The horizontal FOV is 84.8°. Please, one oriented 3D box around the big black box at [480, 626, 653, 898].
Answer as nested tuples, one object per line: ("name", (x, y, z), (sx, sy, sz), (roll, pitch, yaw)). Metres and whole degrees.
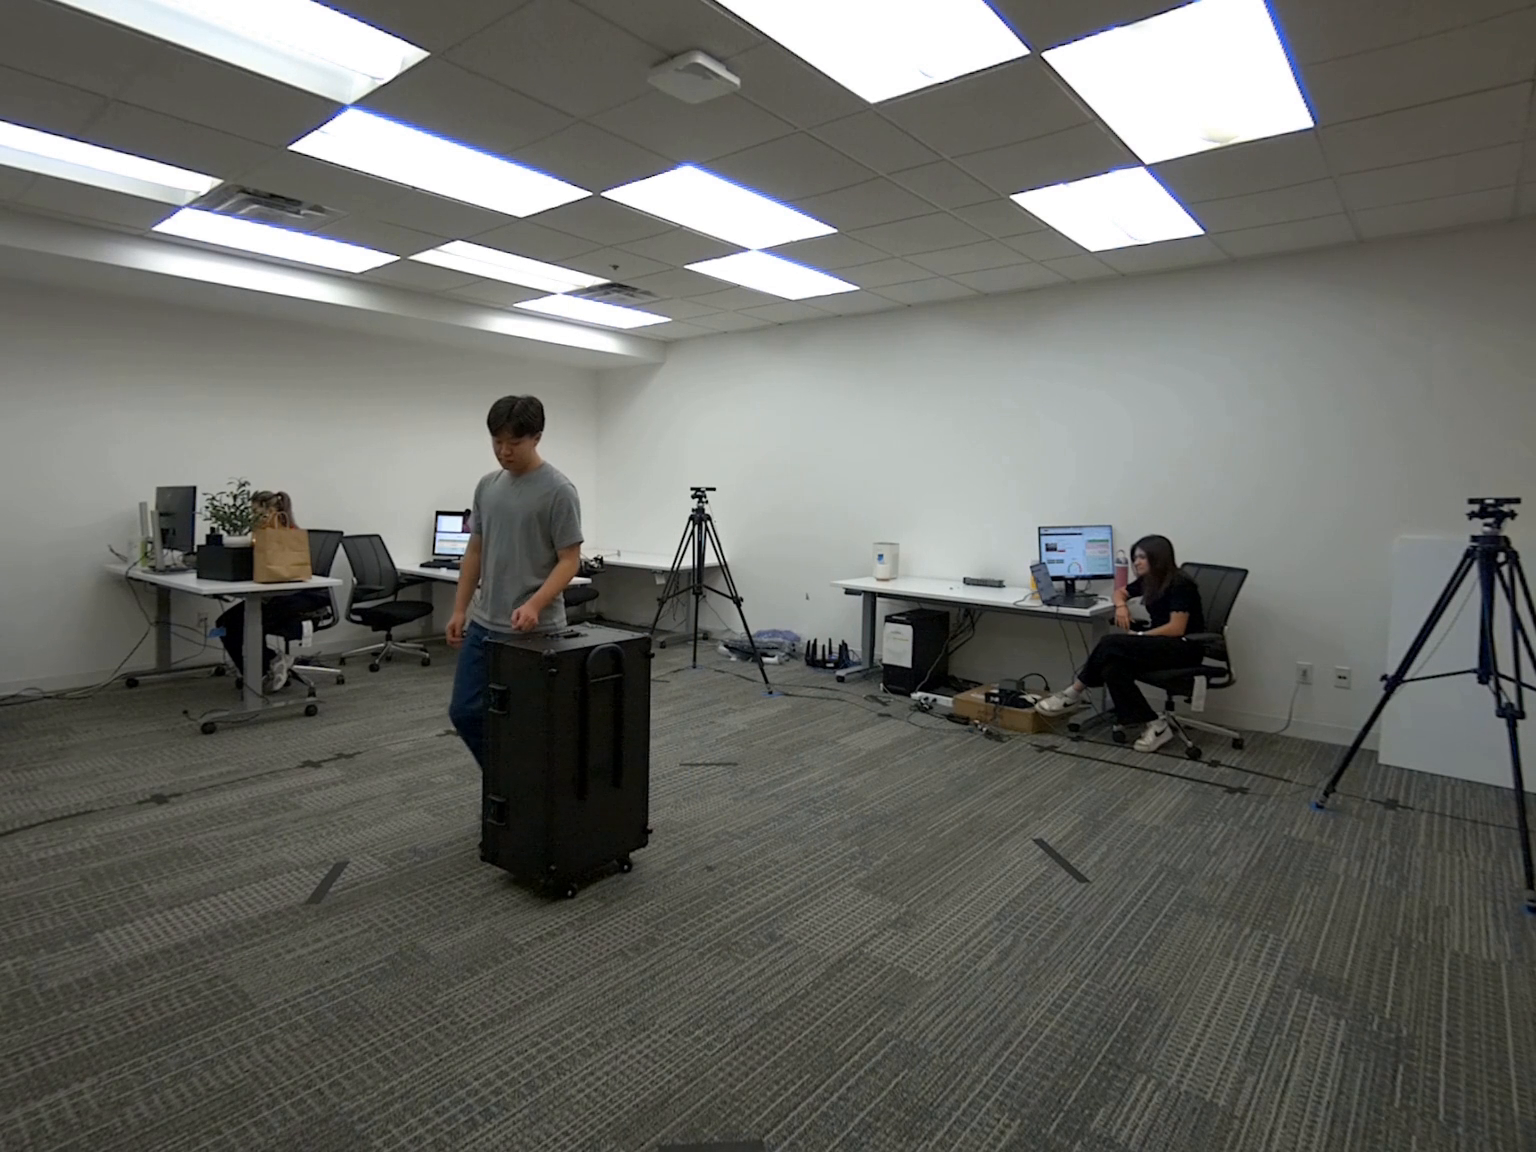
("big black box", (-0.710, 0.643, 3.029), (0.409, 0.859, 0.506), (4, 4, 37))
